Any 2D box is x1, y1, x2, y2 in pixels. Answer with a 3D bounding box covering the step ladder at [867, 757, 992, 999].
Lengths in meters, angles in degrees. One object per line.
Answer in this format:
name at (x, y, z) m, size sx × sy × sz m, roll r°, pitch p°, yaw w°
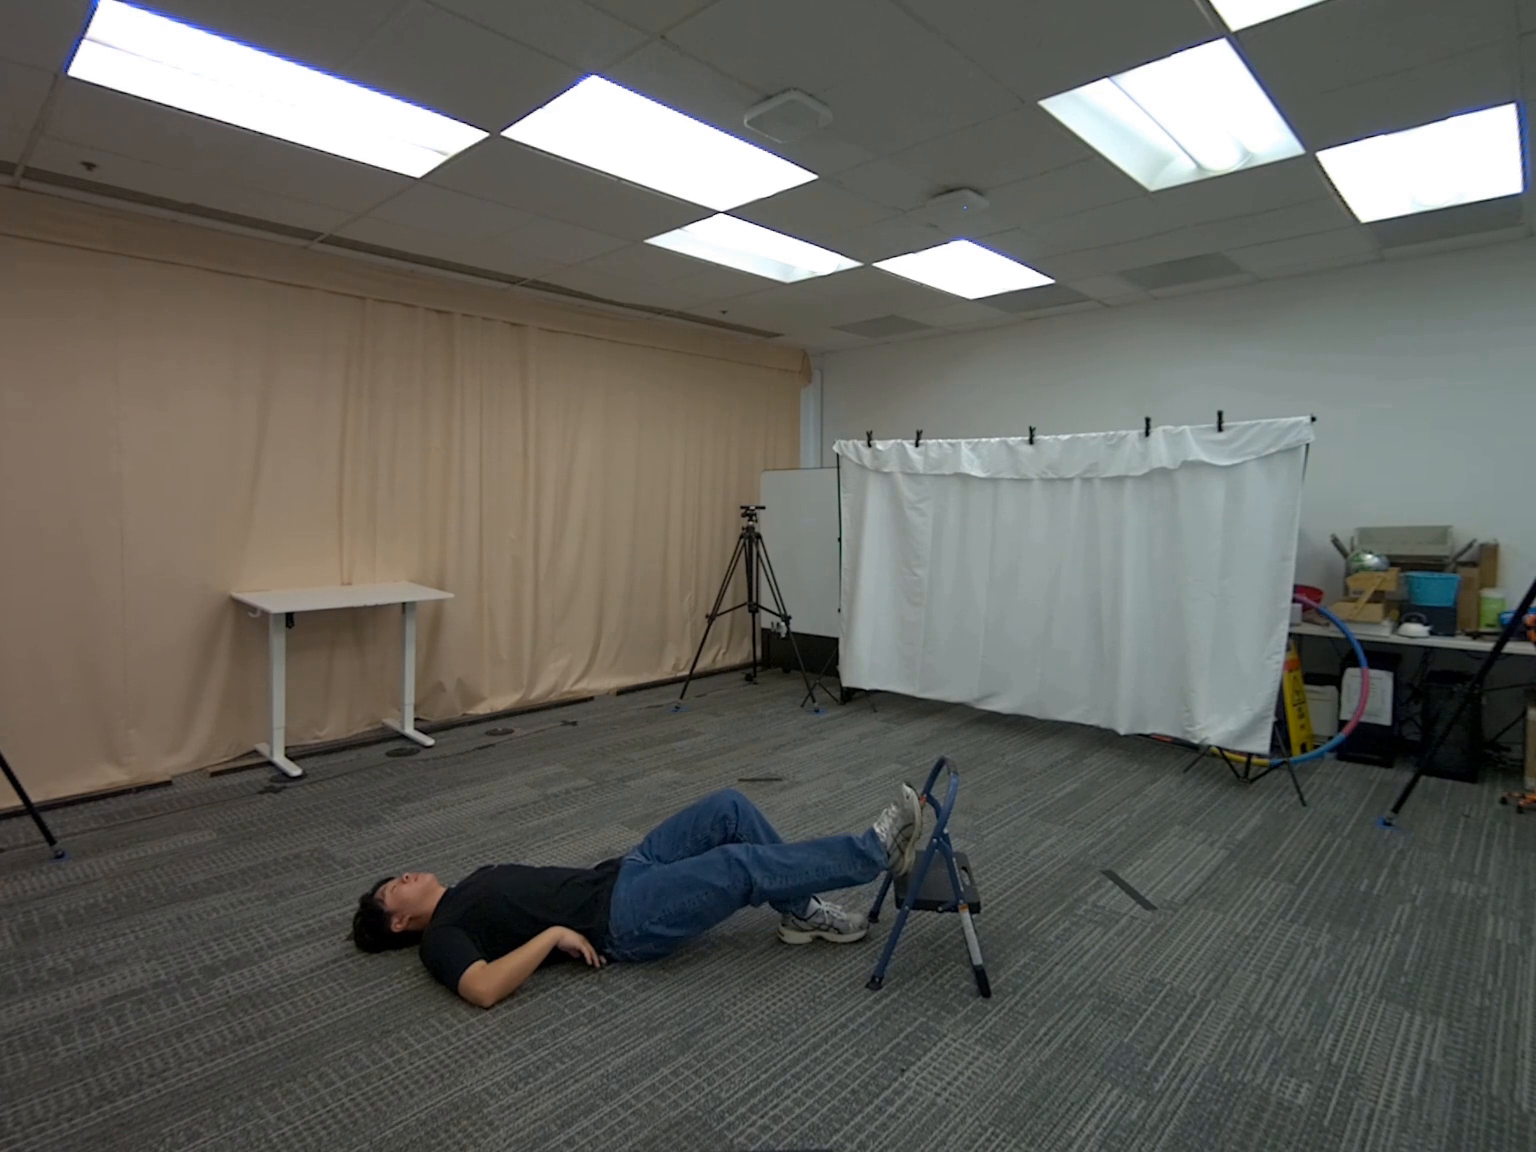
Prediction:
step ladder at (0.491, 0.878, 2.586) m, size 0.352 × 0.605 × 0.428 m, roll -1°, pitch 3°, yaw 6°
